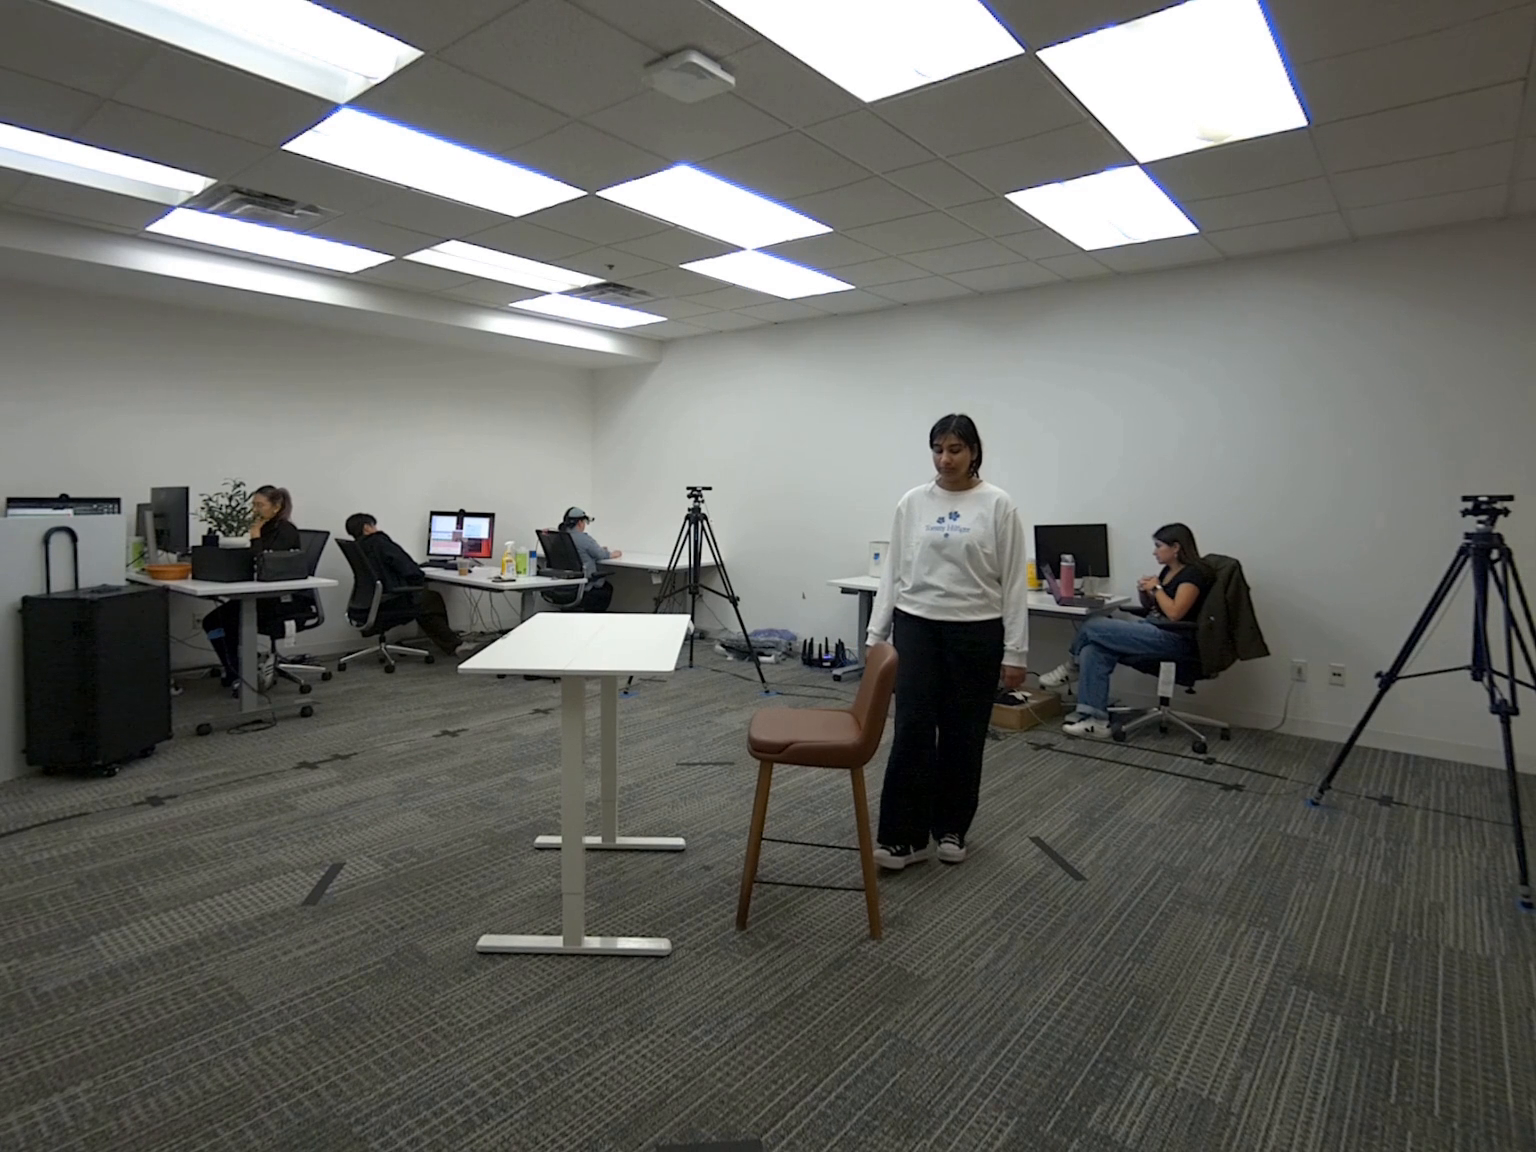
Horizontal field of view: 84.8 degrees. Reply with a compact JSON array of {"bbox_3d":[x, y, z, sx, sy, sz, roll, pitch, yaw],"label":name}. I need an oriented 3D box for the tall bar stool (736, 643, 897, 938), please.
[{"bbox_3d":[0.157,0.668,2.823,0.472,0.887,0.454,4,4,7],"label":"tall bar stool"}]
